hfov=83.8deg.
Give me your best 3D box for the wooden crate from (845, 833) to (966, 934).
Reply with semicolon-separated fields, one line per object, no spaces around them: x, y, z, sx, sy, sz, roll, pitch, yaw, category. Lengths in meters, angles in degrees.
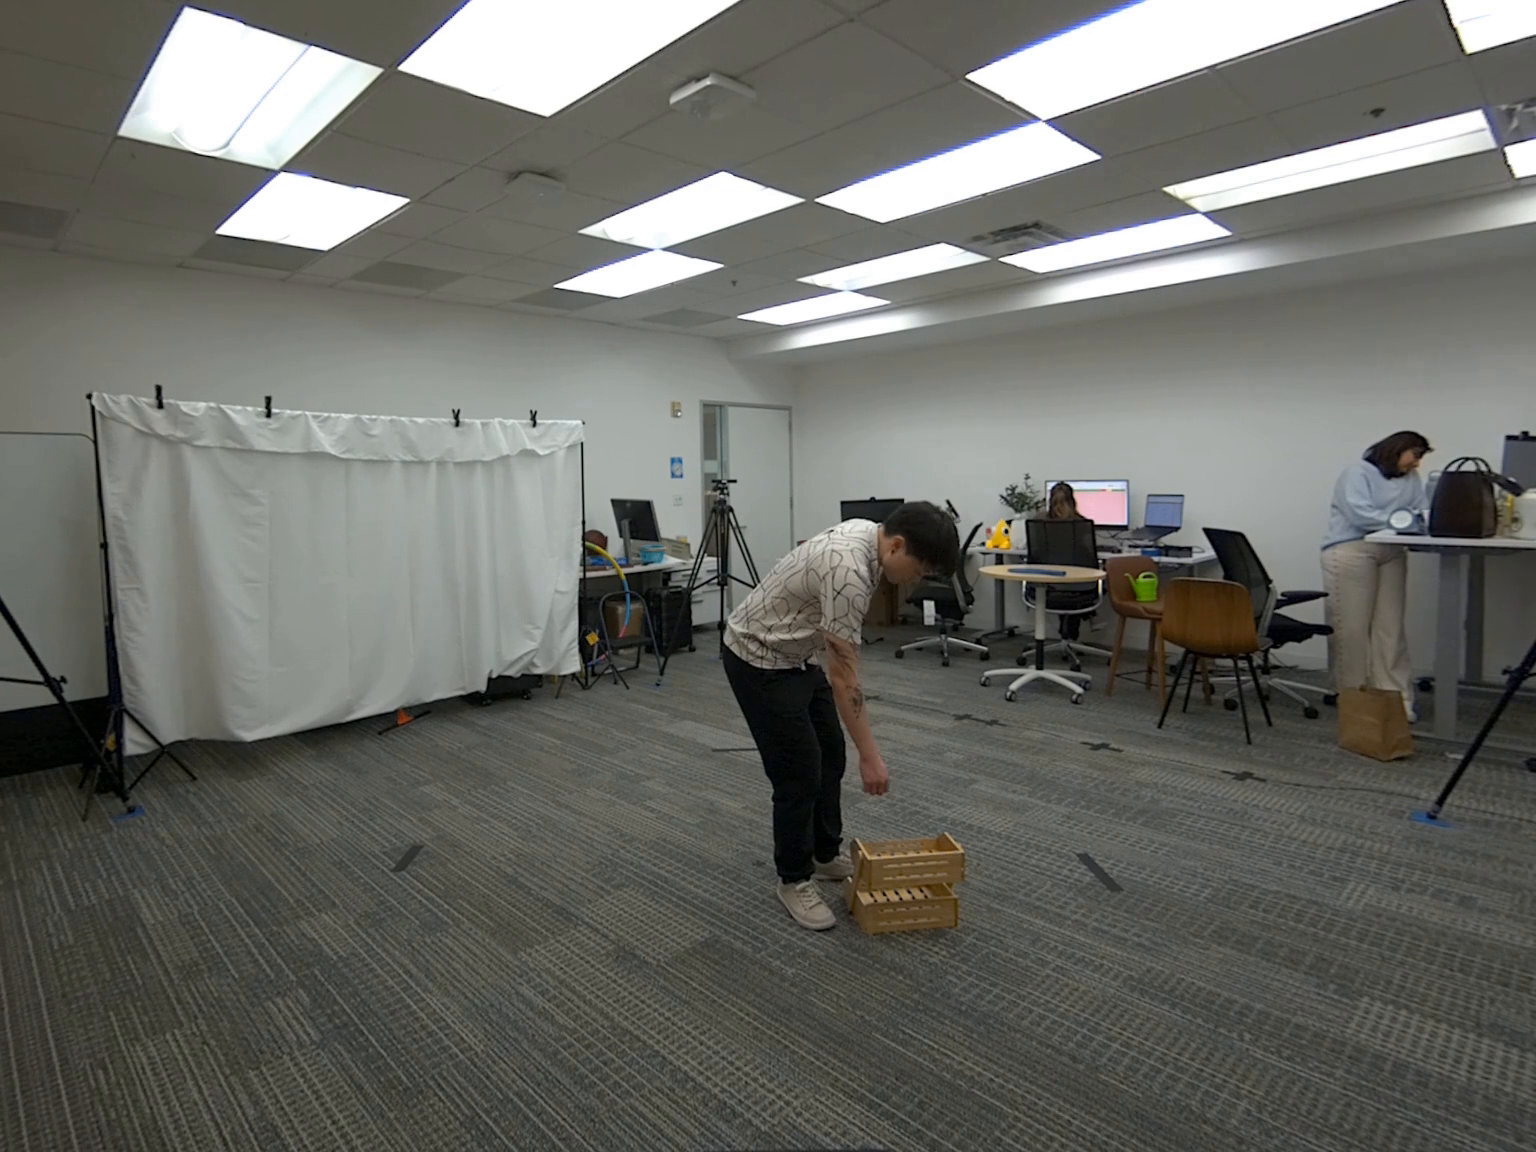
0.419;0.941;2.727;0.322;0.272;0.306;-2;6;-9;wooden crate
